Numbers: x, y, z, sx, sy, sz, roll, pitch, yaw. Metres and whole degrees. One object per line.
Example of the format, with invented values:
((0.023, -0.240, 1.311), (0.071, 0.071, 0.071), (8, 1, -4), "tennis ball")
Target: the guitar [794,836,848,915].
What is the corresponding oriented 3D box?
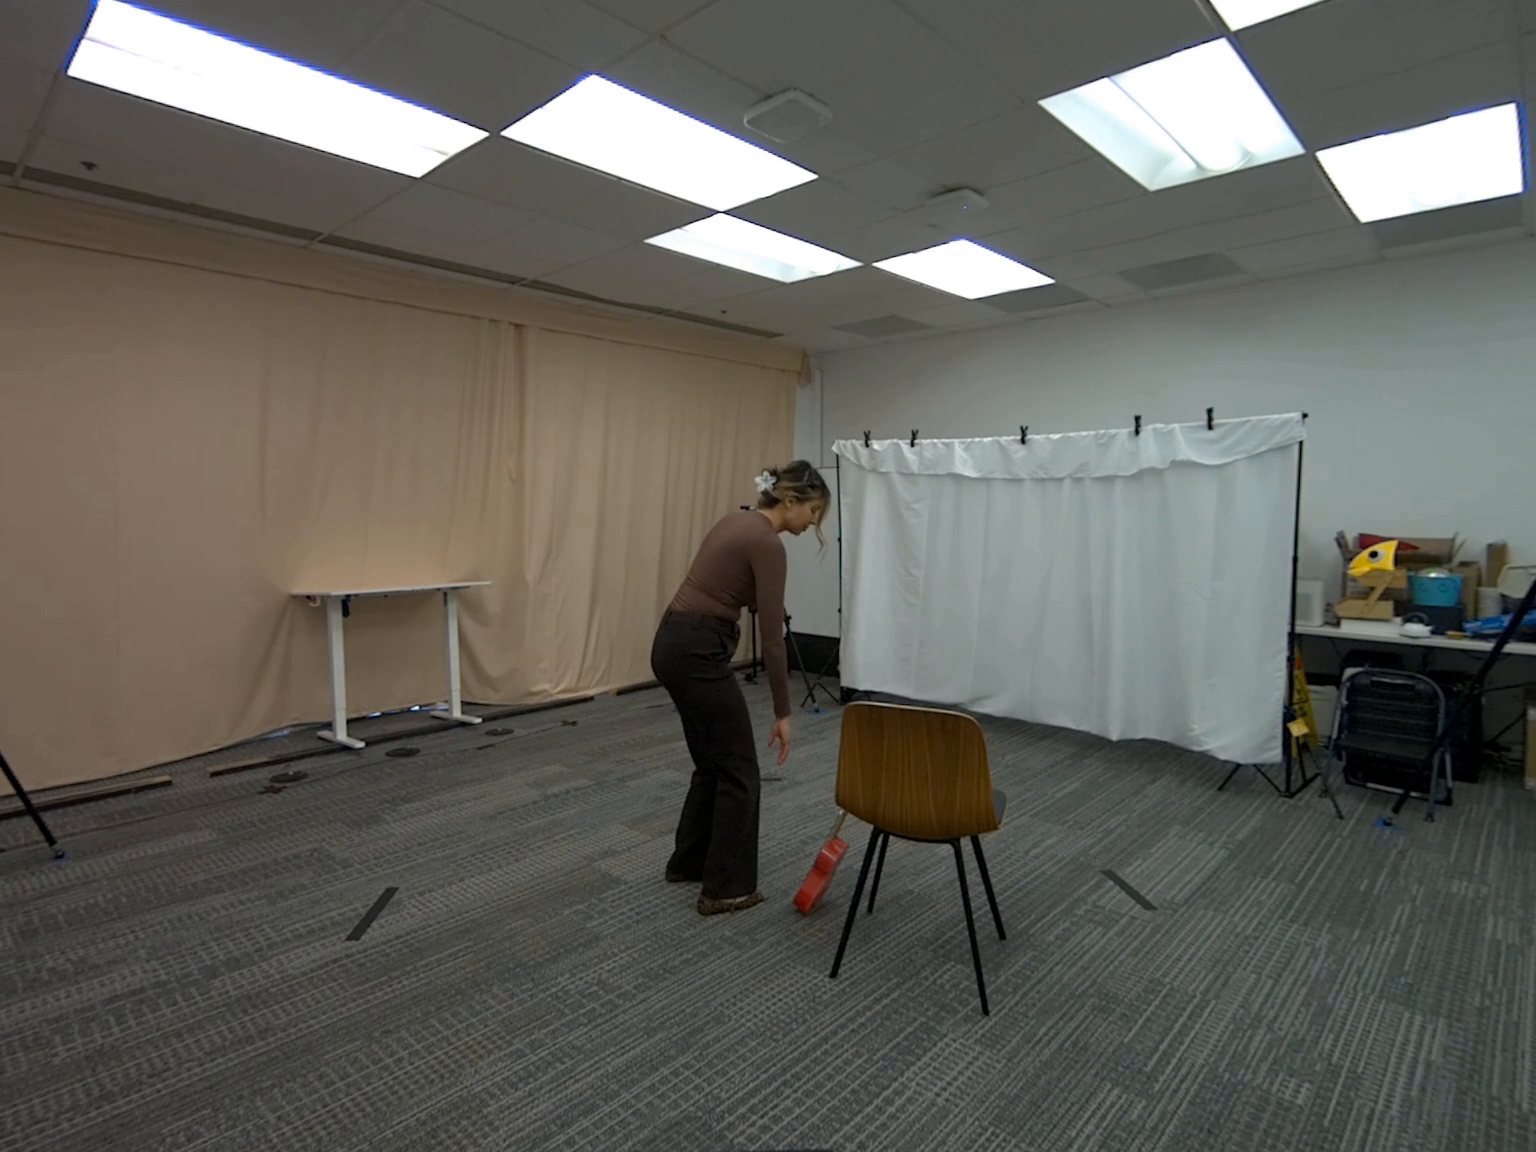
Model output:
((0.216, 0.927, 2.837), (0.072, 0.495, 0.189), (28, 23, 21), "guitar")
